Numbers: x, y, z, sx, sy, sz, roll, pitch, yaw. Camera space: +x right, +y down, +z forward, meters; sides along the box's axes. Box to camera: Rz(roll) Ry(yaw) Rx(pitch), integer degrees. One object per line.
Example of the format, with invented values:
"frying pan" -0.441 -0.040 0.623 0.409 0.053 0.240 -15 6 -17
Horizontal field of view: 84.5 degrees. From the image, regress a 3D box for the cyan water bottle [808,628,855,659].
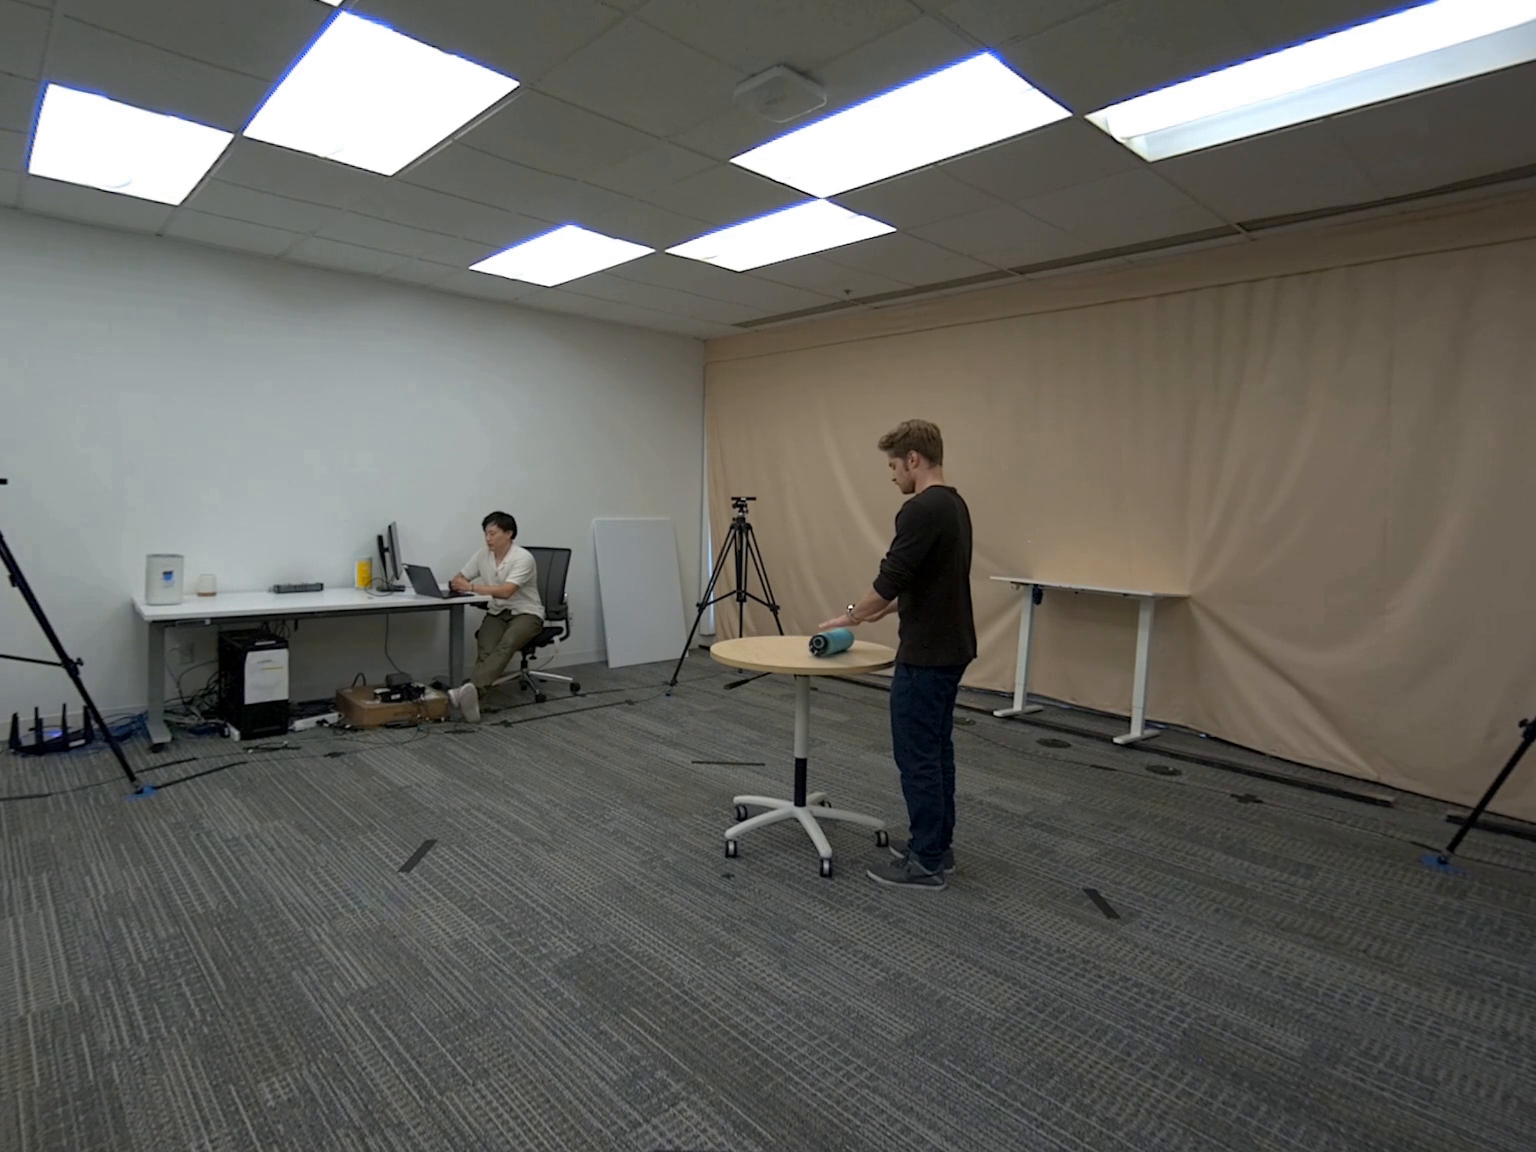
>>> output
"cyan water bottle" 0.242 0.262 3.350 0.094 0.092 0.278 4 5 28
